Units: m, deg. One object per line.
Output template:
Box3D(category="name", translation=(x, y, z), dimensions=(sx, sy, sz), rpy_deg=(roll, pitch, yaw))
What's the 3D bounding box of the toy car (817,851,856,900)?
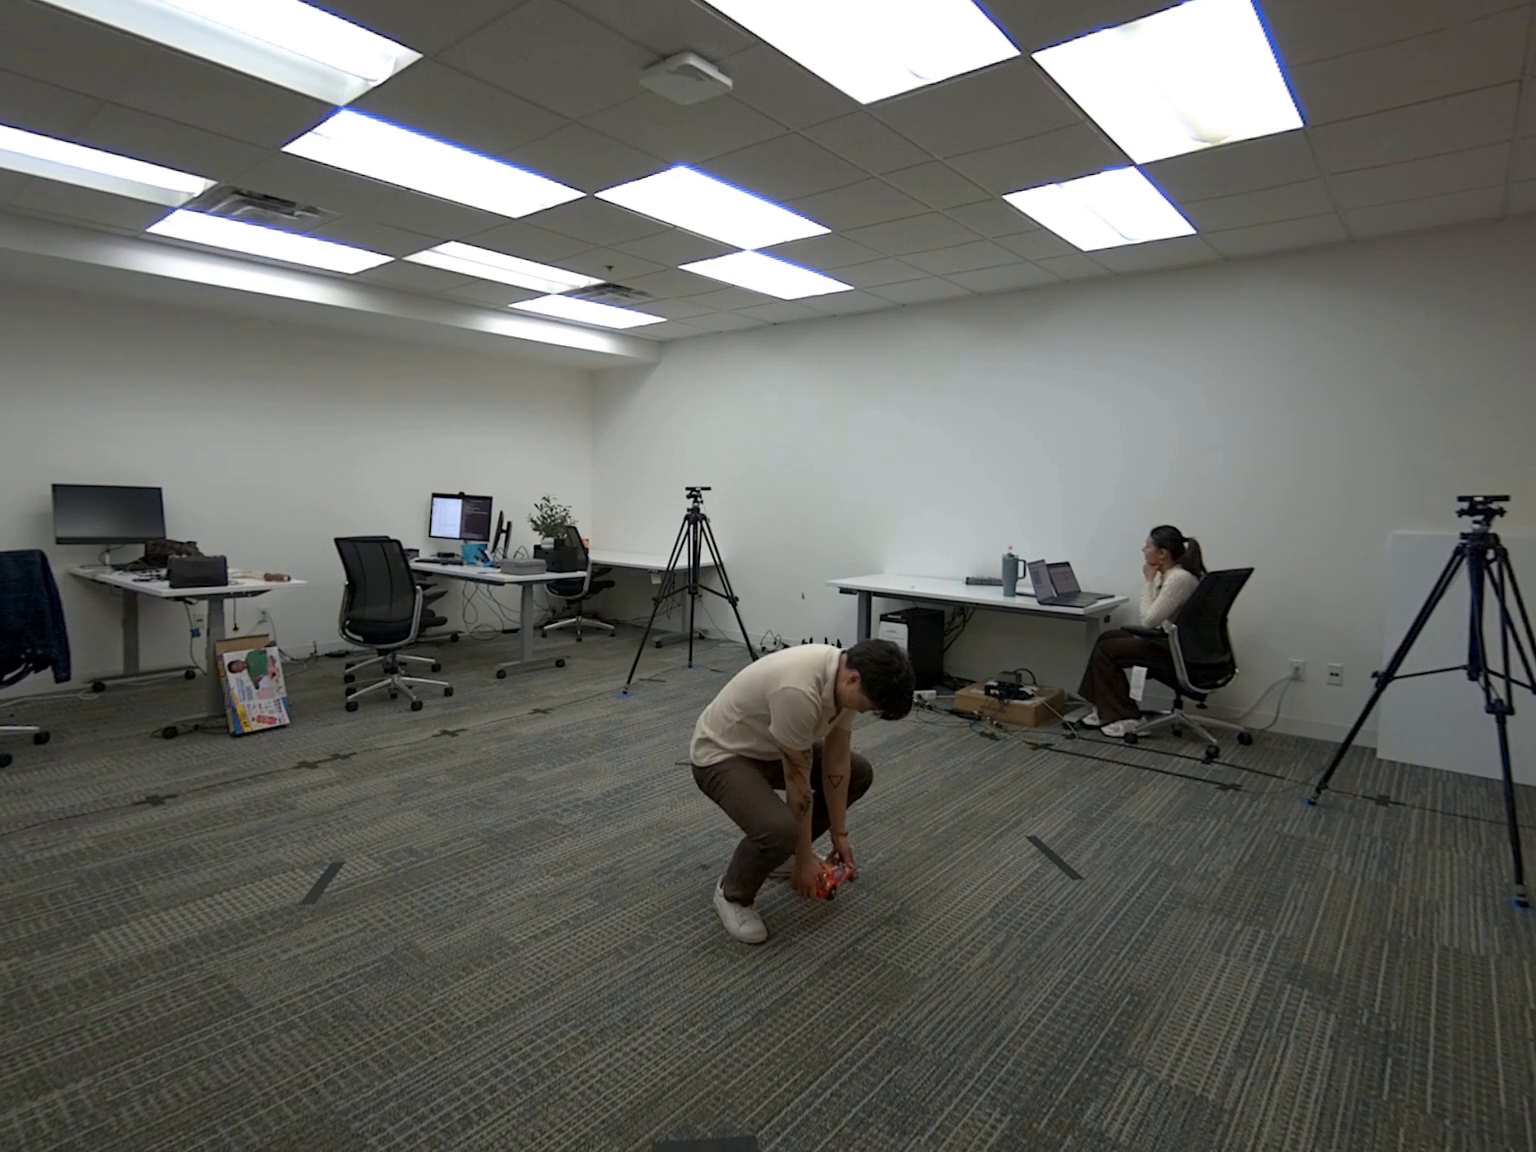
Box3D(category="toy car", translation=(0.185, 0.984, 2.773), dimensions=(0.135, 0.083, 0.245), rpy_deg=(9, -2, 35))
